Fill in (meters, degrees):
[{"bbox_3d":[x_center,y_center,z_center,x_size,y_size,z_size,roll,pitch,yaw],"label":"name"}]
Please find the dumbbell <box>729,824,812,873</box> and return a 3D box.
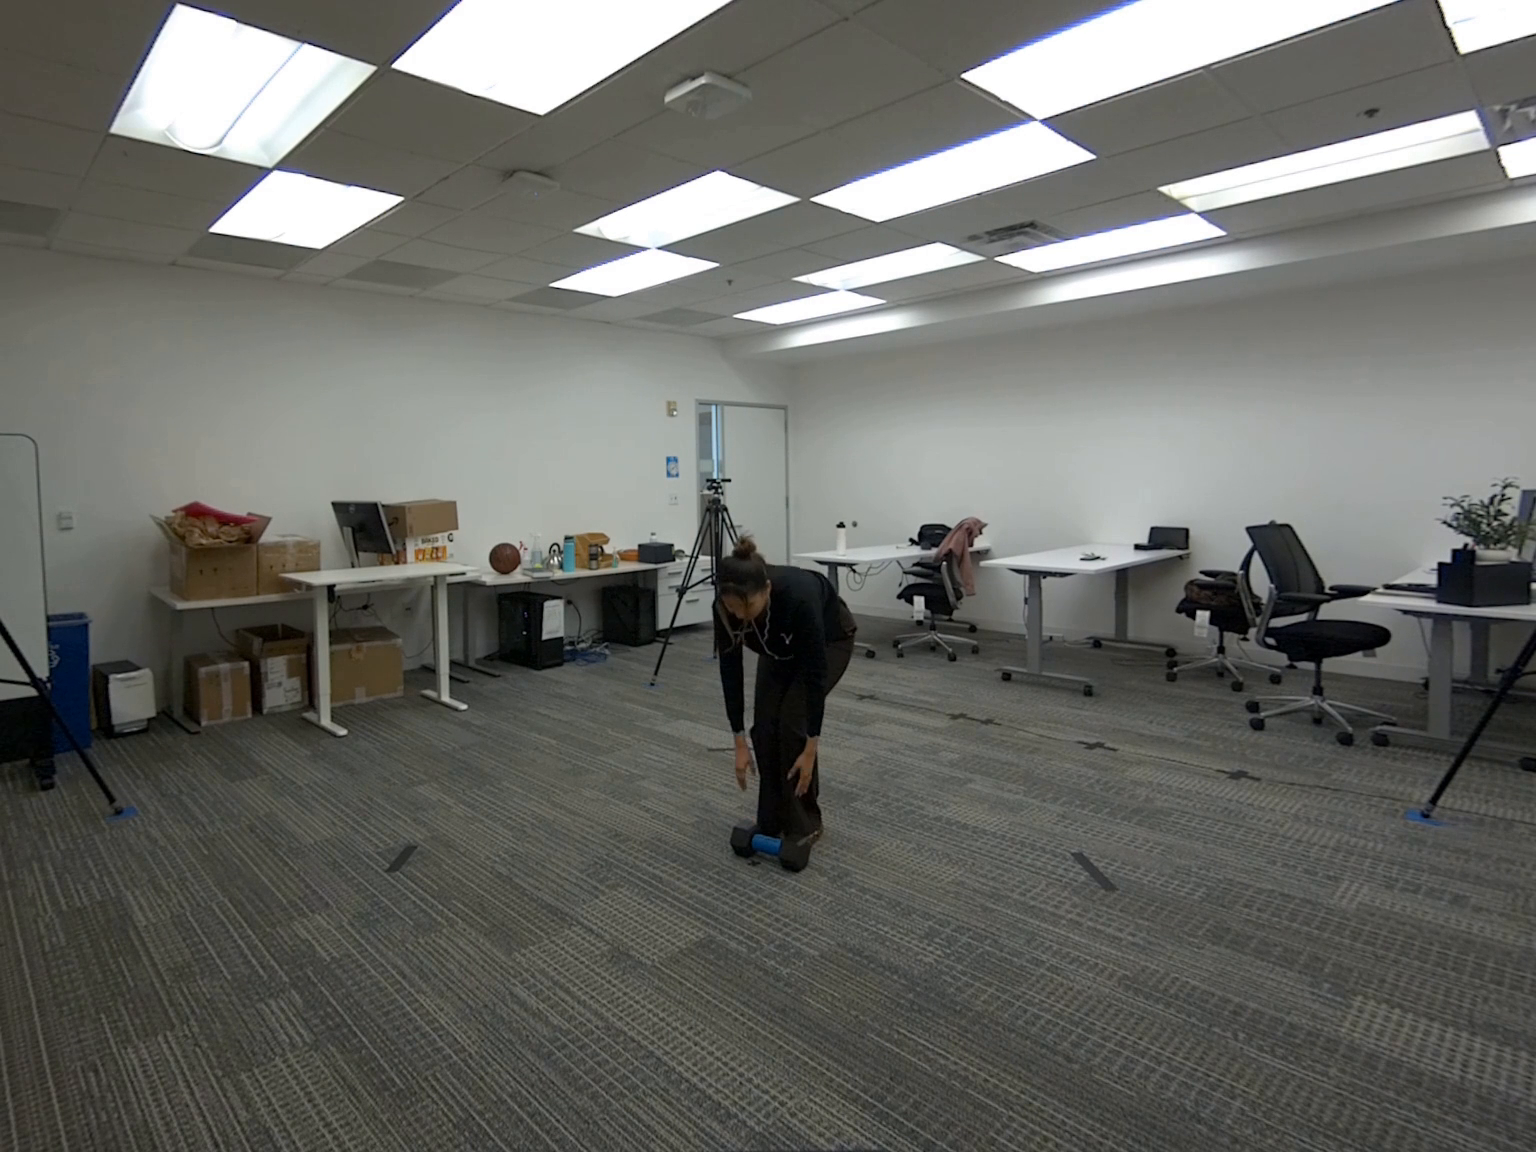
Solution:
[{"bbox_3d":[0.007,0.992,3.129,0.302,0.108,0.120,3,8,34],"label":"dumbbell"}]
